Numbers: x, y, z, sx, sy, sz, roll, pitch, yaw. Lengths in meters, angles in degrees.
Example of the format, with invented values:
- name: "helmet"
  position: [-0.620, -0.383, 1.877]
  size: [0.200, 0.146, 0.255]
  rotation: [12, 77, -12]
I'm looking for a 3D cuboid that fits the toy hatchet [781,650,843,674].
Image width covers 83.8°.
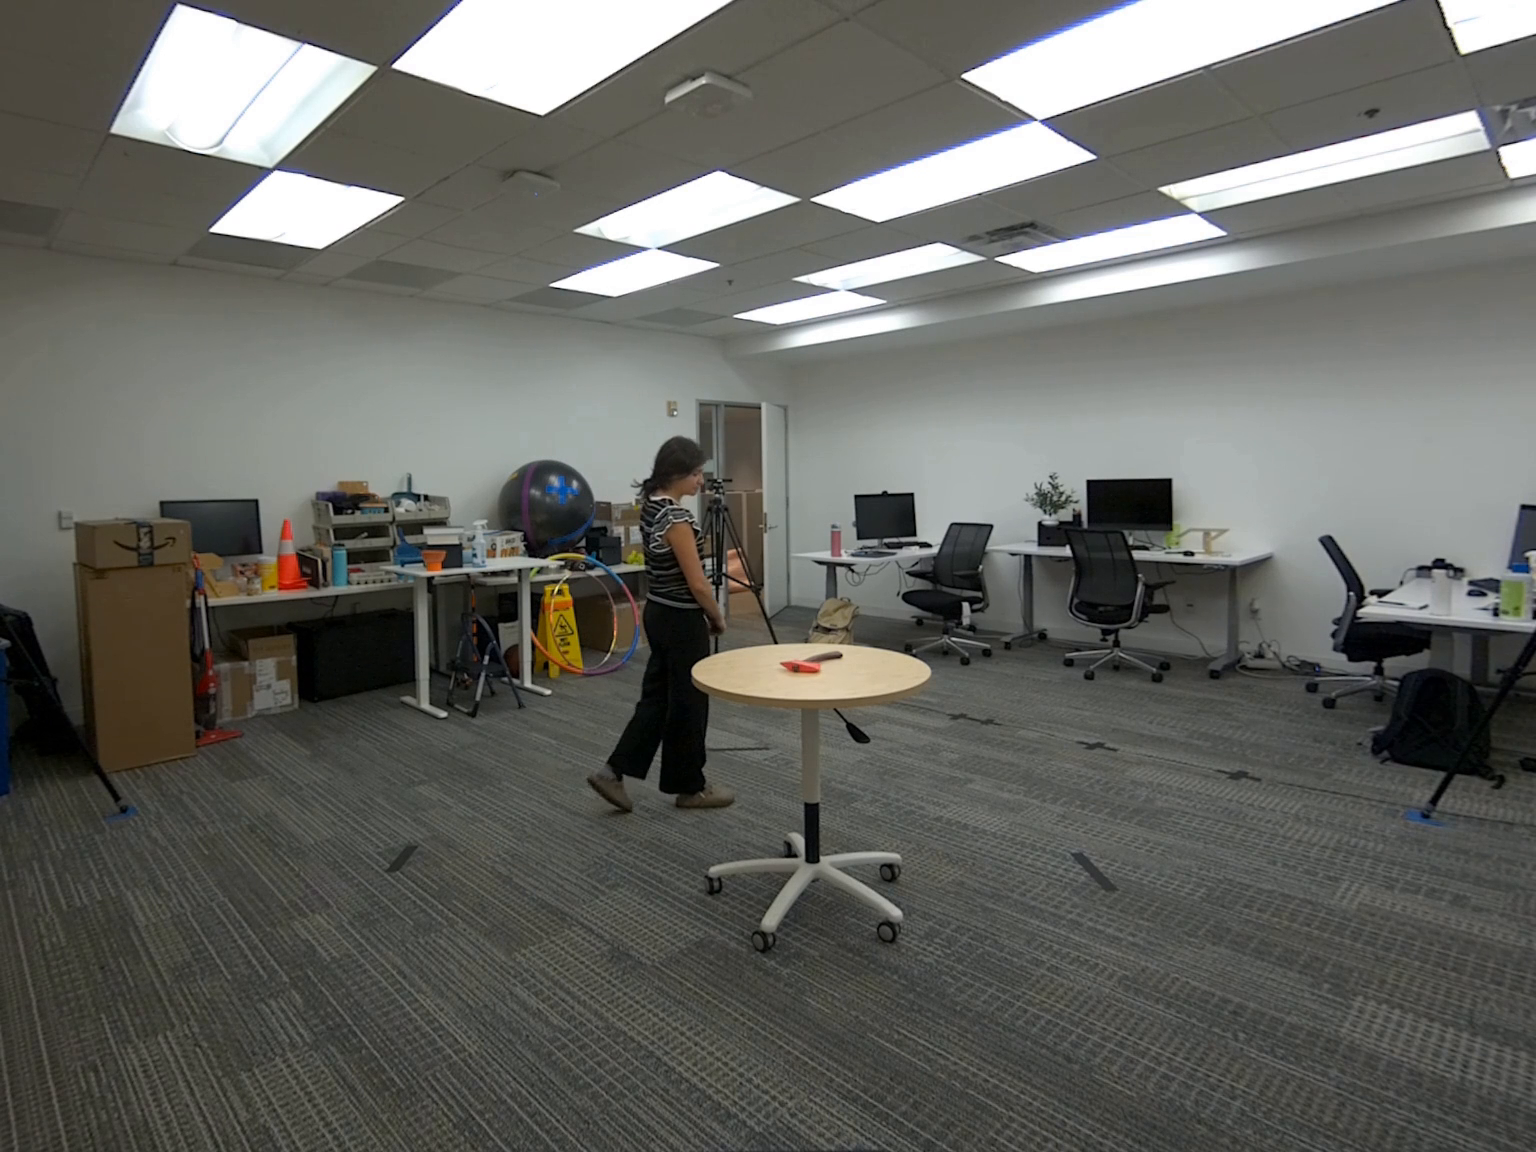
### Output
- name: "toy hatchet"
  position: [0.182, 0.278, 2.795]
  size: [0.263, 0.029, 0.135]
  rotation: [-6, 9, -41]
